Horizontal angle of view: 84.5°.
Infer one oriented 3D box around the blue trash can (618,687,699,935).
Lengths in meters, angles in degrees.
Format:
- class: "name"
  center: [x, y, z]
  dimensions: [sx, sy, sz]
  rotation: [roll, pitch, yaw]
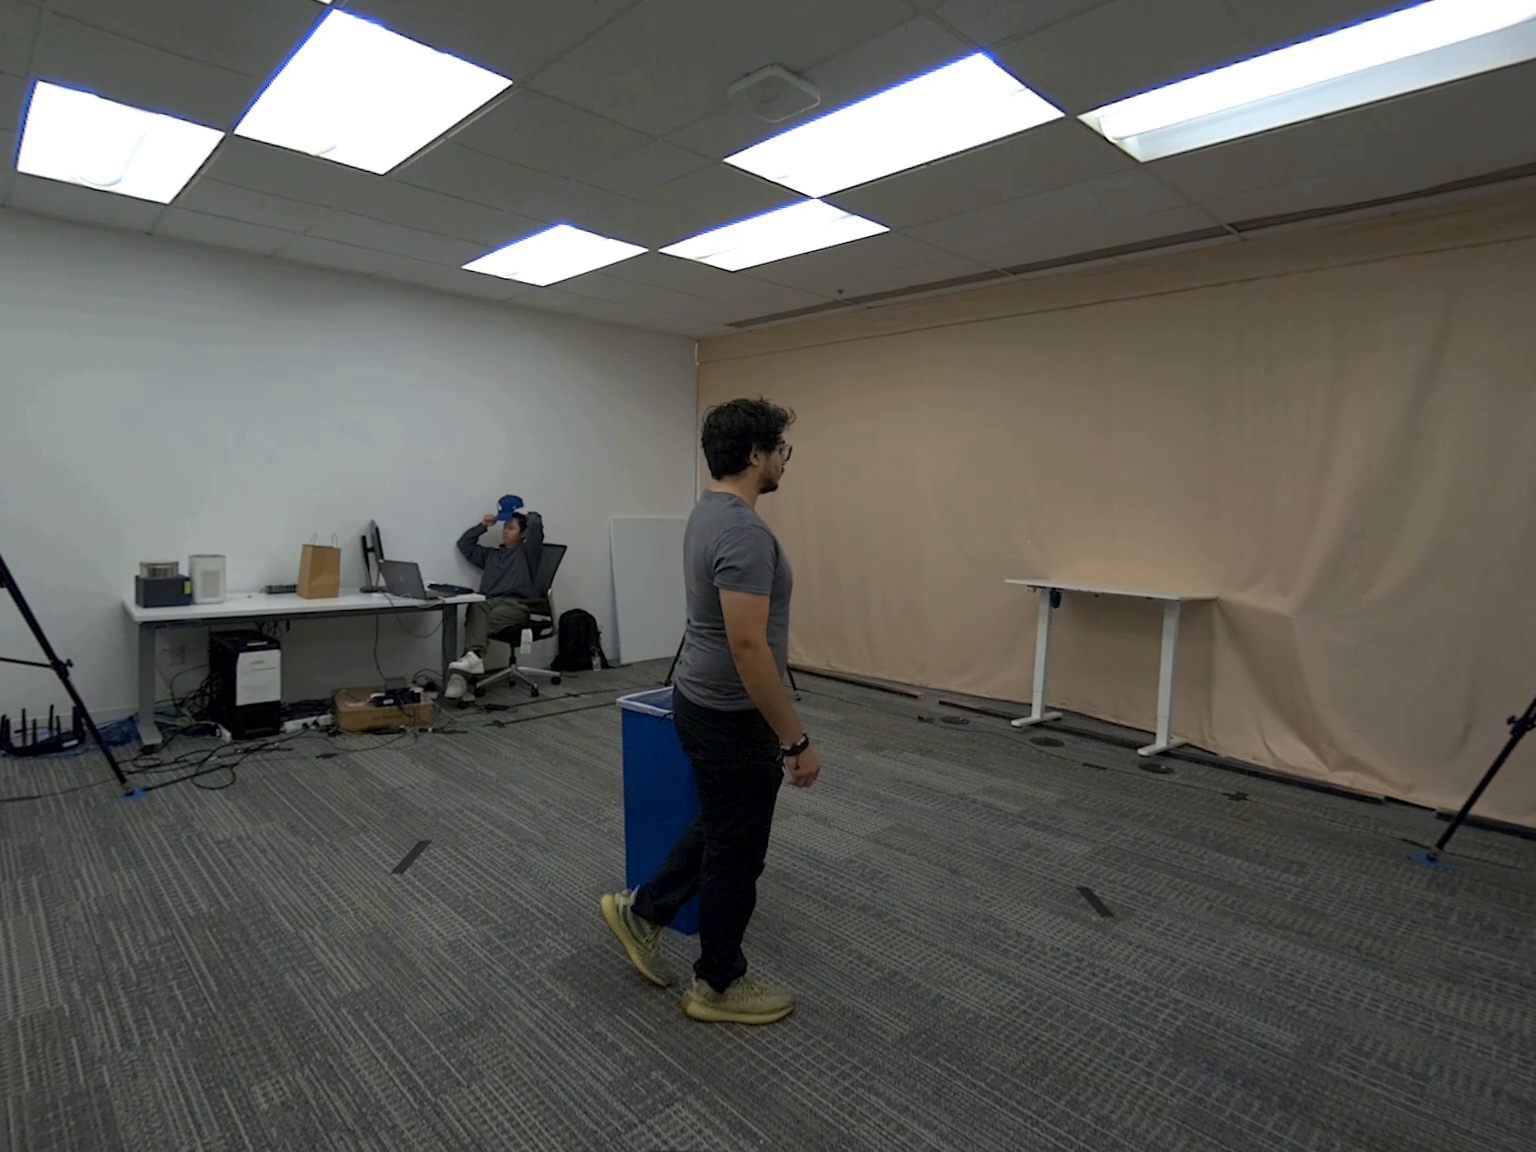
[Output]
- class: "blue trash can"
  center: [-0.284, 0.769, 2.864]
  dimensions: [0.383, 0.712, 0.369]
  rotation: [4, 4, 39]
